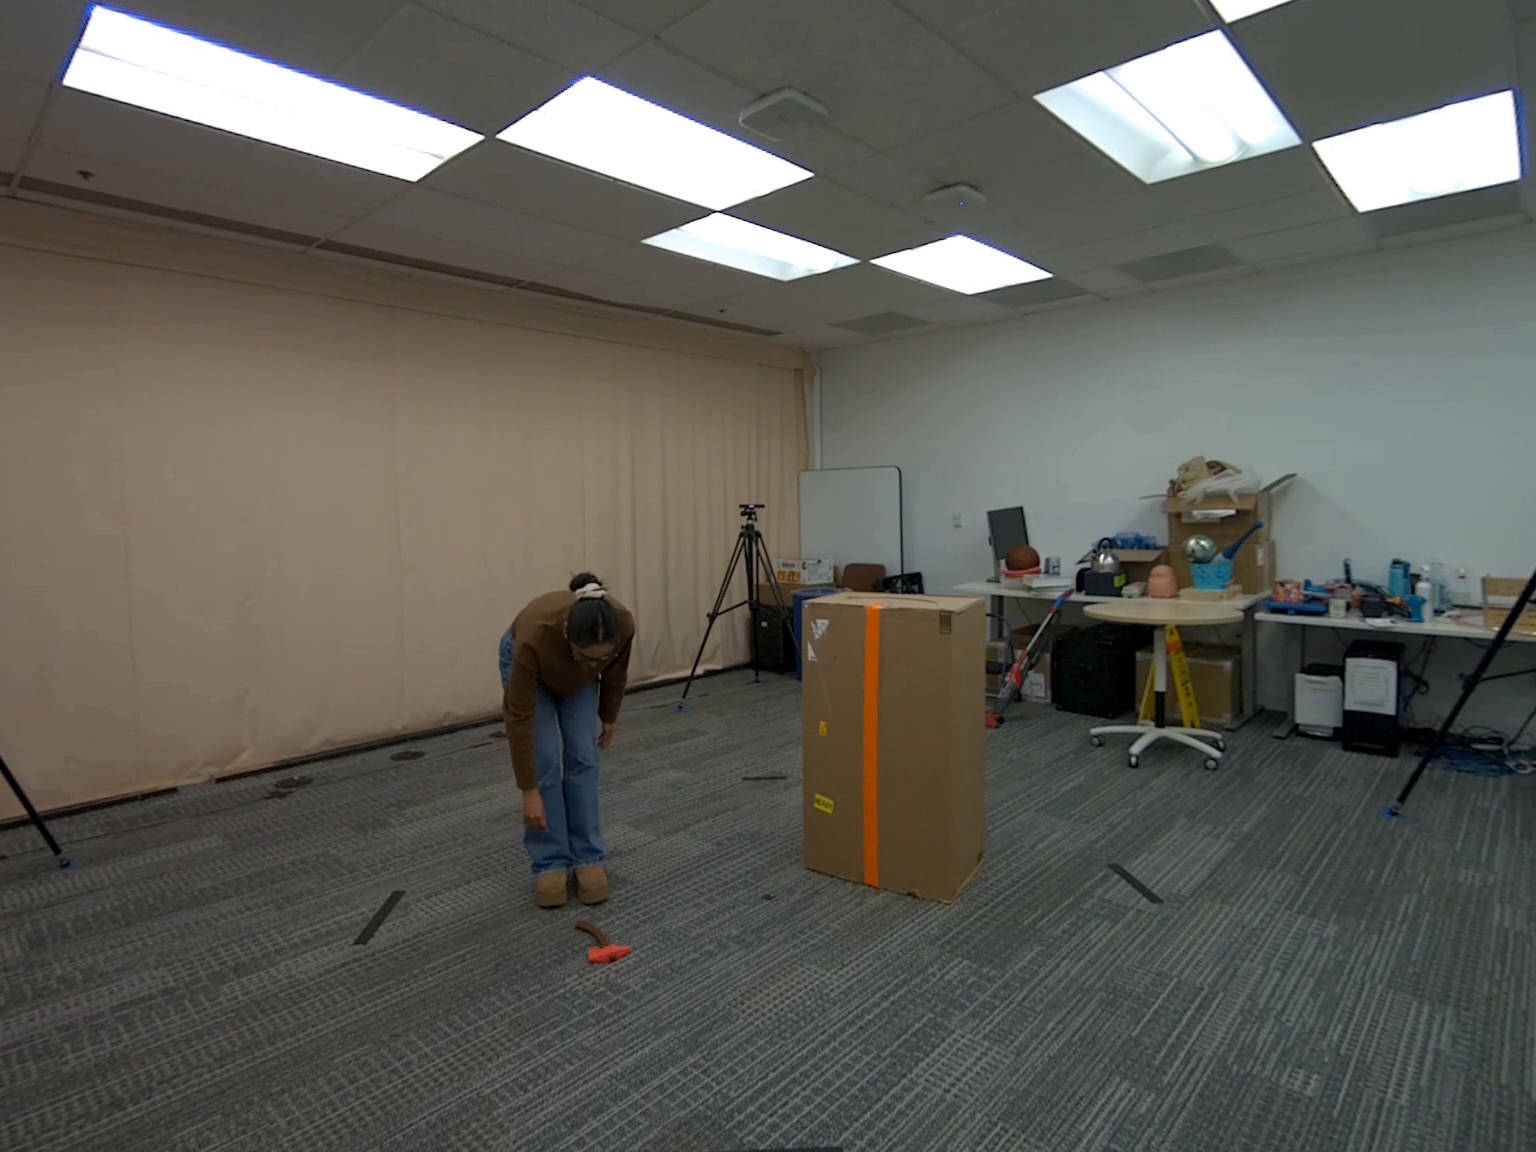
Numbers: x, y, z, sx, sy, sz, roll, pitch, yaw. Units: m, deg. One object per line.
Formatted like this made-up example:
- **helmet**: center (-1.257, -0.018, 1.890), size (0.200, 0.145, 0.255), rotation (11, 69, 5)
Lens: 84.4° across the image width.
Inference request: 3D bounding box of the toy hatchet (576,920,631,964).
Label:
- **toy hatchet**: center (-0.562, 1.172, 2.672), size (0.127, 0.029, 0.279), rotation (-8, 6, -44)
